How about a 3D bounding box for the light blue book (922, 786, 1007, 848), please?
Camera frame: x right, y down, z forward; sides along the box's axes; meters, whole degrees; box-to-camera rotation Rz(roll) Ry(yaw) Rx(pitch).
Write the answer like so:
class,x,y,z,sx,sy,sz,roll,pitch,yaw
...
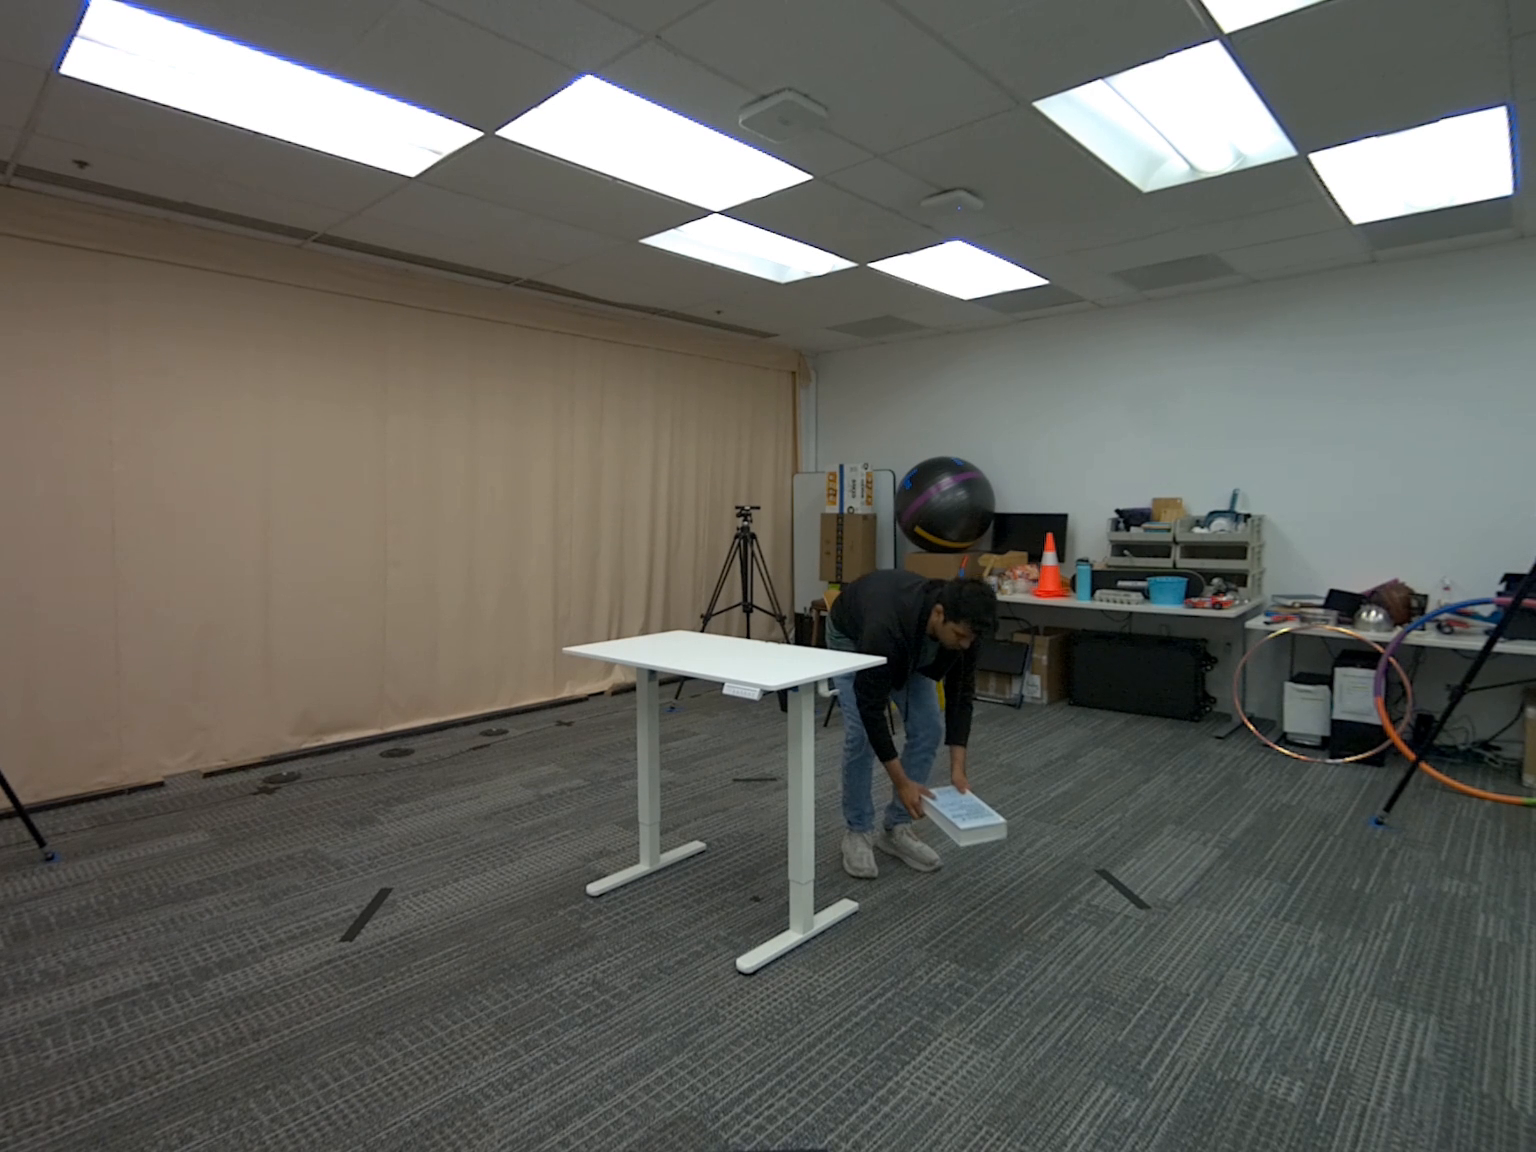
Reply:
class,x,y,z,sx,sy,sz,roll,pitch,yaw
light blue book,0.670,0.805,2.886,0.187,0.058,0.268,-4,13,-21
